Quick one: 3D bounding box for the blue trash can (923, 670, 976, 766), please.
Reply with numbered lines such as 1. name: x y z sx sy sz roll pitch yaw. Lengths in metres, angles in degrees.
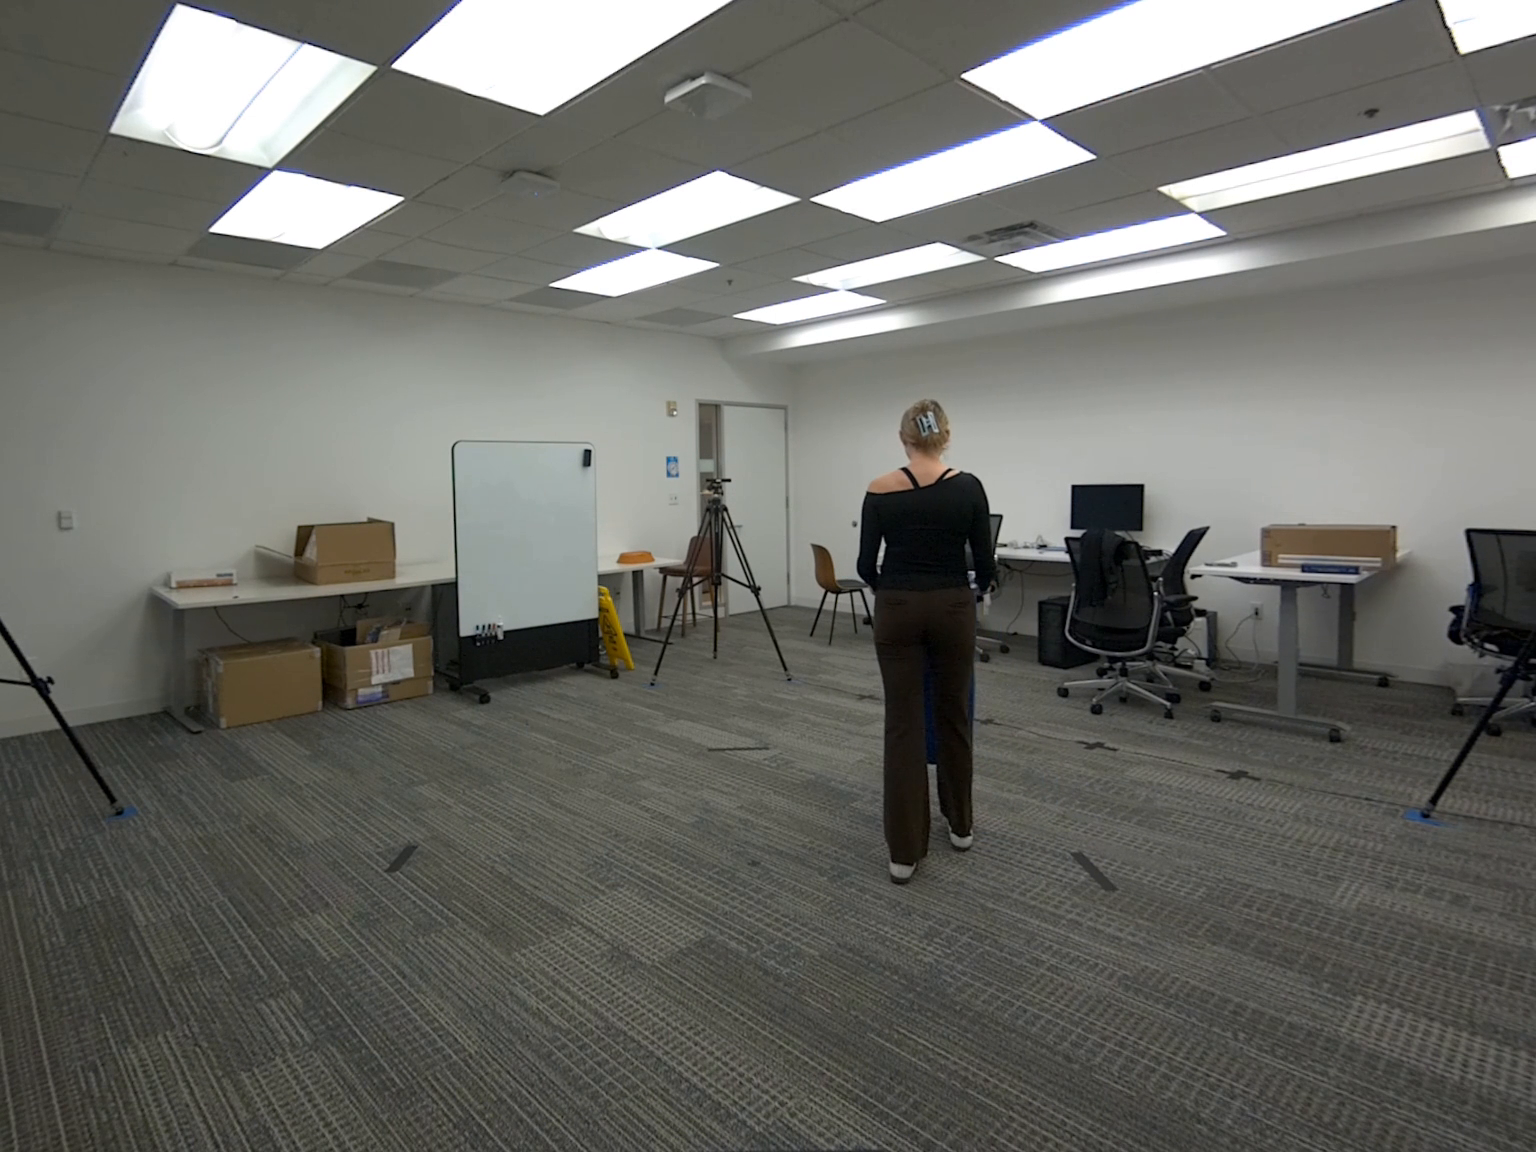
1. blue trash can: 0.666 0.366 3.458 0.380 0.709 0.375 0 7 15
